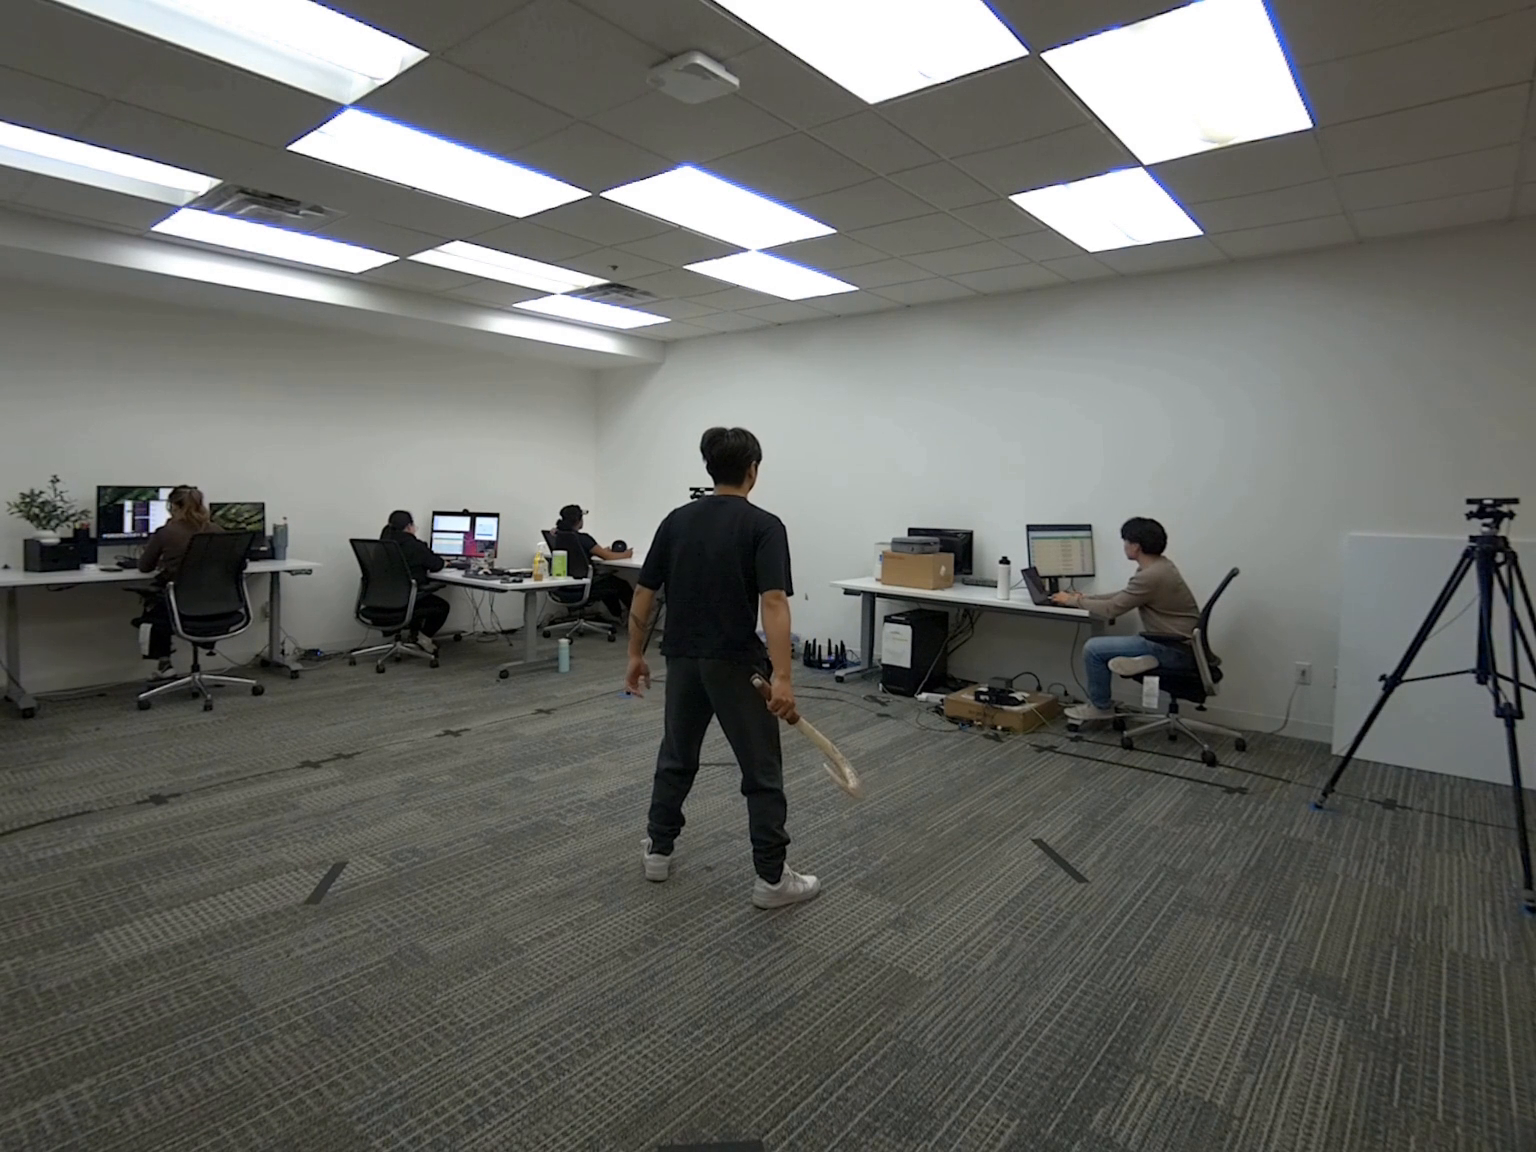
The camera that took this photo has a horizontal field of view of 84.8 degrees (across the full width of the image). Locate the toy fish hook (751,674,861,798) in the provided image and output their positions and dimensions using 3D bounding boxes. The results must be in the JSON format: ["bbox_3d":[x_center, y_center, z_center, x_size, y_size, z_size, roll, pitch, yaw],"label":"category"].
[{"bbox_3d":[0.130,0.494,2.674,0.498,0.048,0.228,45,7,-12],"label":"toy fish hook"}]
